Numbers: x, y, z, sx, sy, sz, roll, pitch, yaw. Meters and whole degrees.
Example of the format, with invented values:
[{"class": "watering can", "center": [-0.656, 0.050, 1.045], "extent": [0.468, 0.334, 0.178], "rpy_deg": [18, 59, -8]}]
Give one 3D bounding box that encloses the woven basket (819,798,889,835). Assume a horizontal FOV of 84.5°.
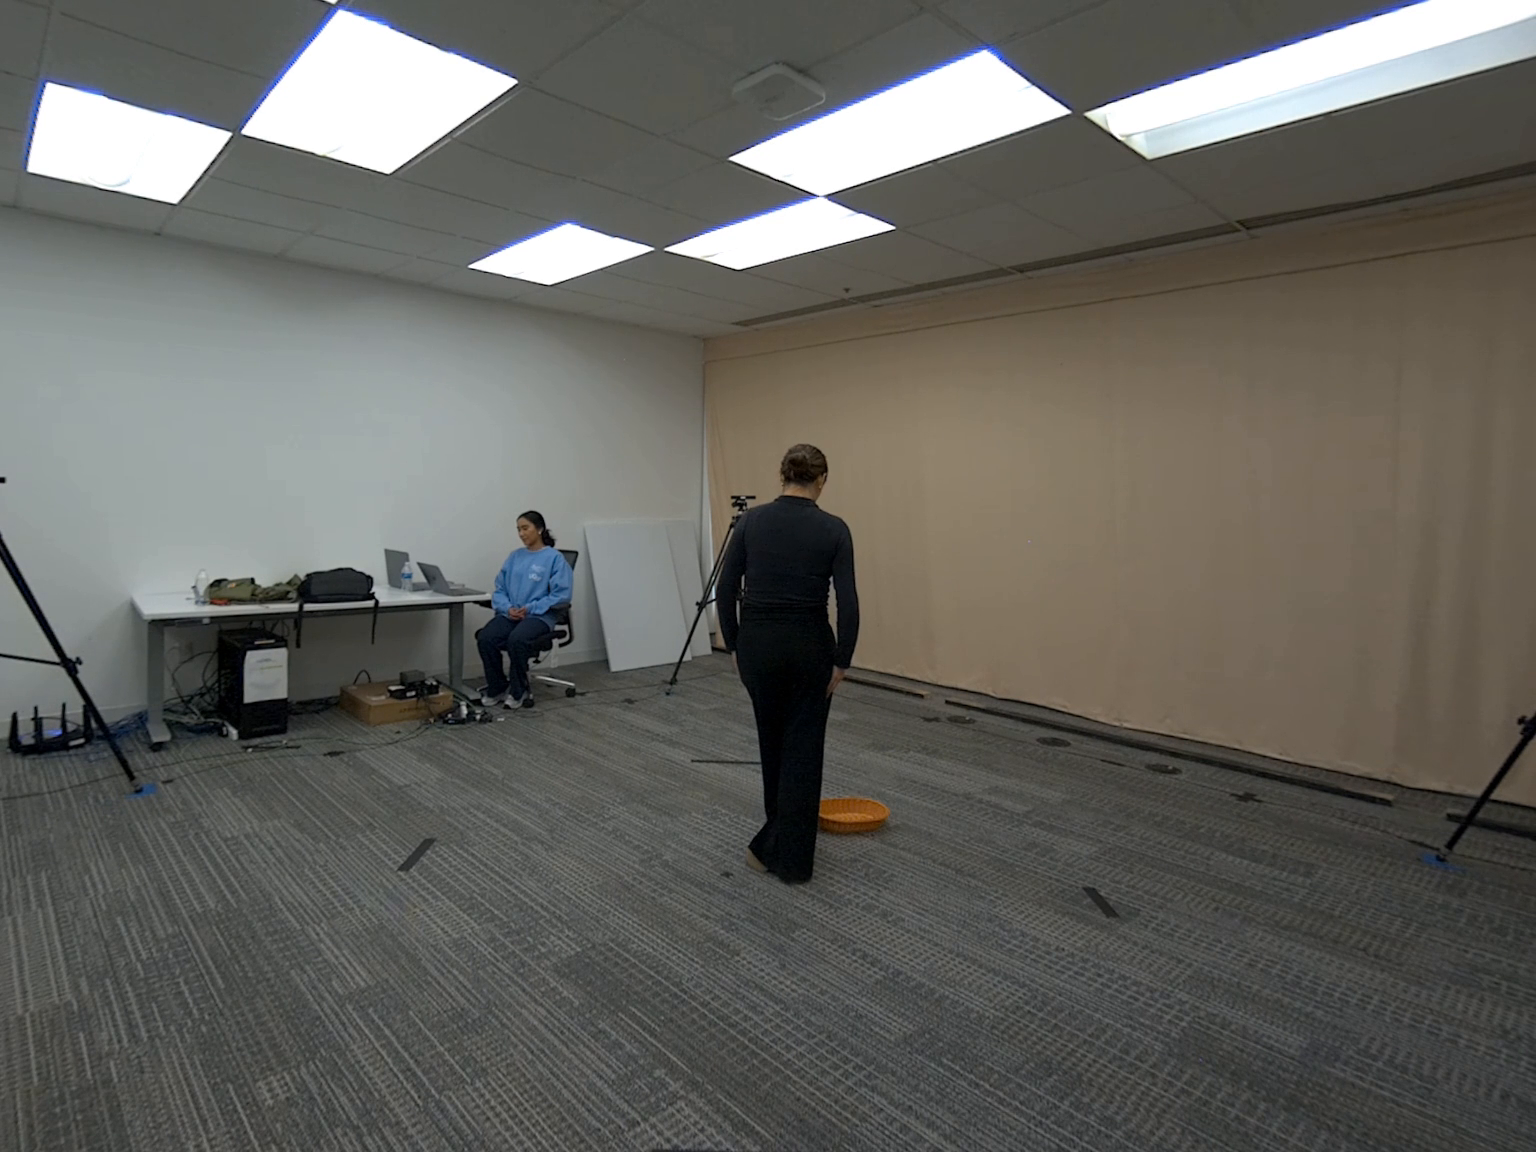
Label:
[{"class": "woven basket", "center": [0.340, 1.028, 3.614], "extent": [0.346, 0.073, 0.257], "rpy_deg": [1, 7, -17]}]
